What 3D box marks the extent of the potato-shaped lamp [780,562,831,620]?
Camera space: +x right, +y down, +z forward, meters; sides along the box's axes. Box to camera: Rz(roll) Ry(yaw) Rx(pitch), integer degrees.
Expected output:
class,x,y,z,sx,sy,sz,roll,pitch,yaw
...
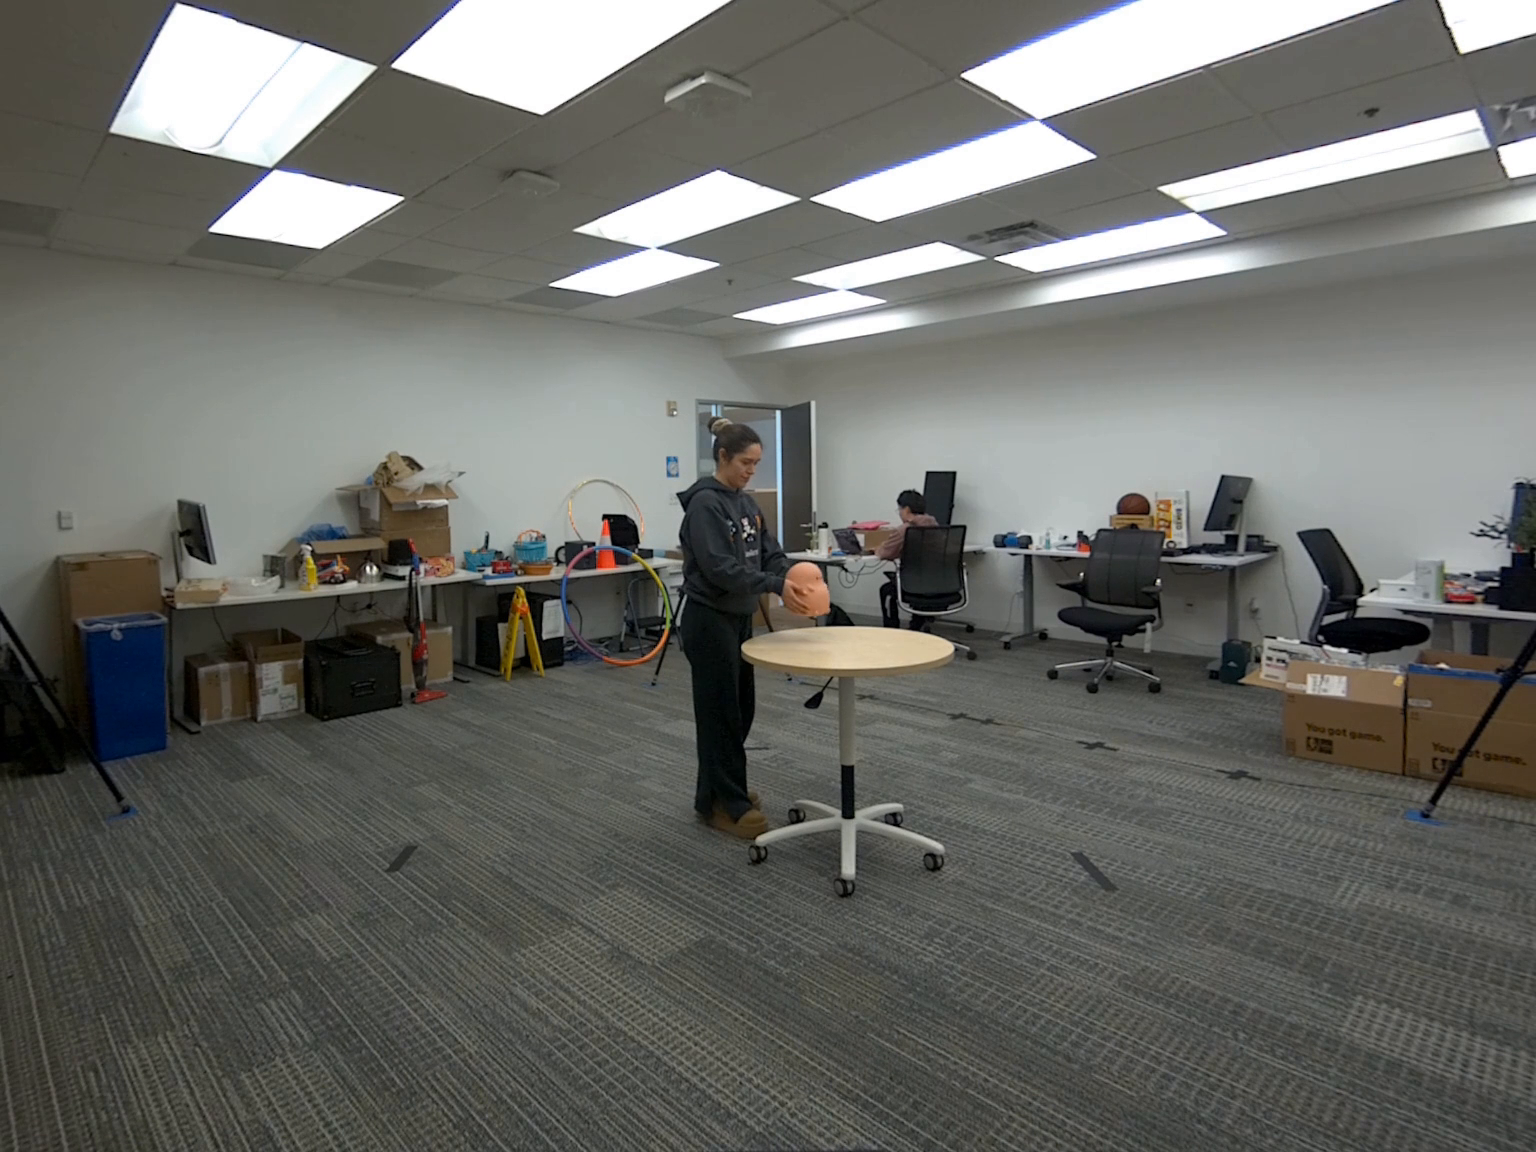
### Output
class,x,y,z,sx,sy,sz,roll,pitch,yaw
potato-shaped lamp,0.139,0.051,3.202,0.176,0.198,0.160,2,3,33
